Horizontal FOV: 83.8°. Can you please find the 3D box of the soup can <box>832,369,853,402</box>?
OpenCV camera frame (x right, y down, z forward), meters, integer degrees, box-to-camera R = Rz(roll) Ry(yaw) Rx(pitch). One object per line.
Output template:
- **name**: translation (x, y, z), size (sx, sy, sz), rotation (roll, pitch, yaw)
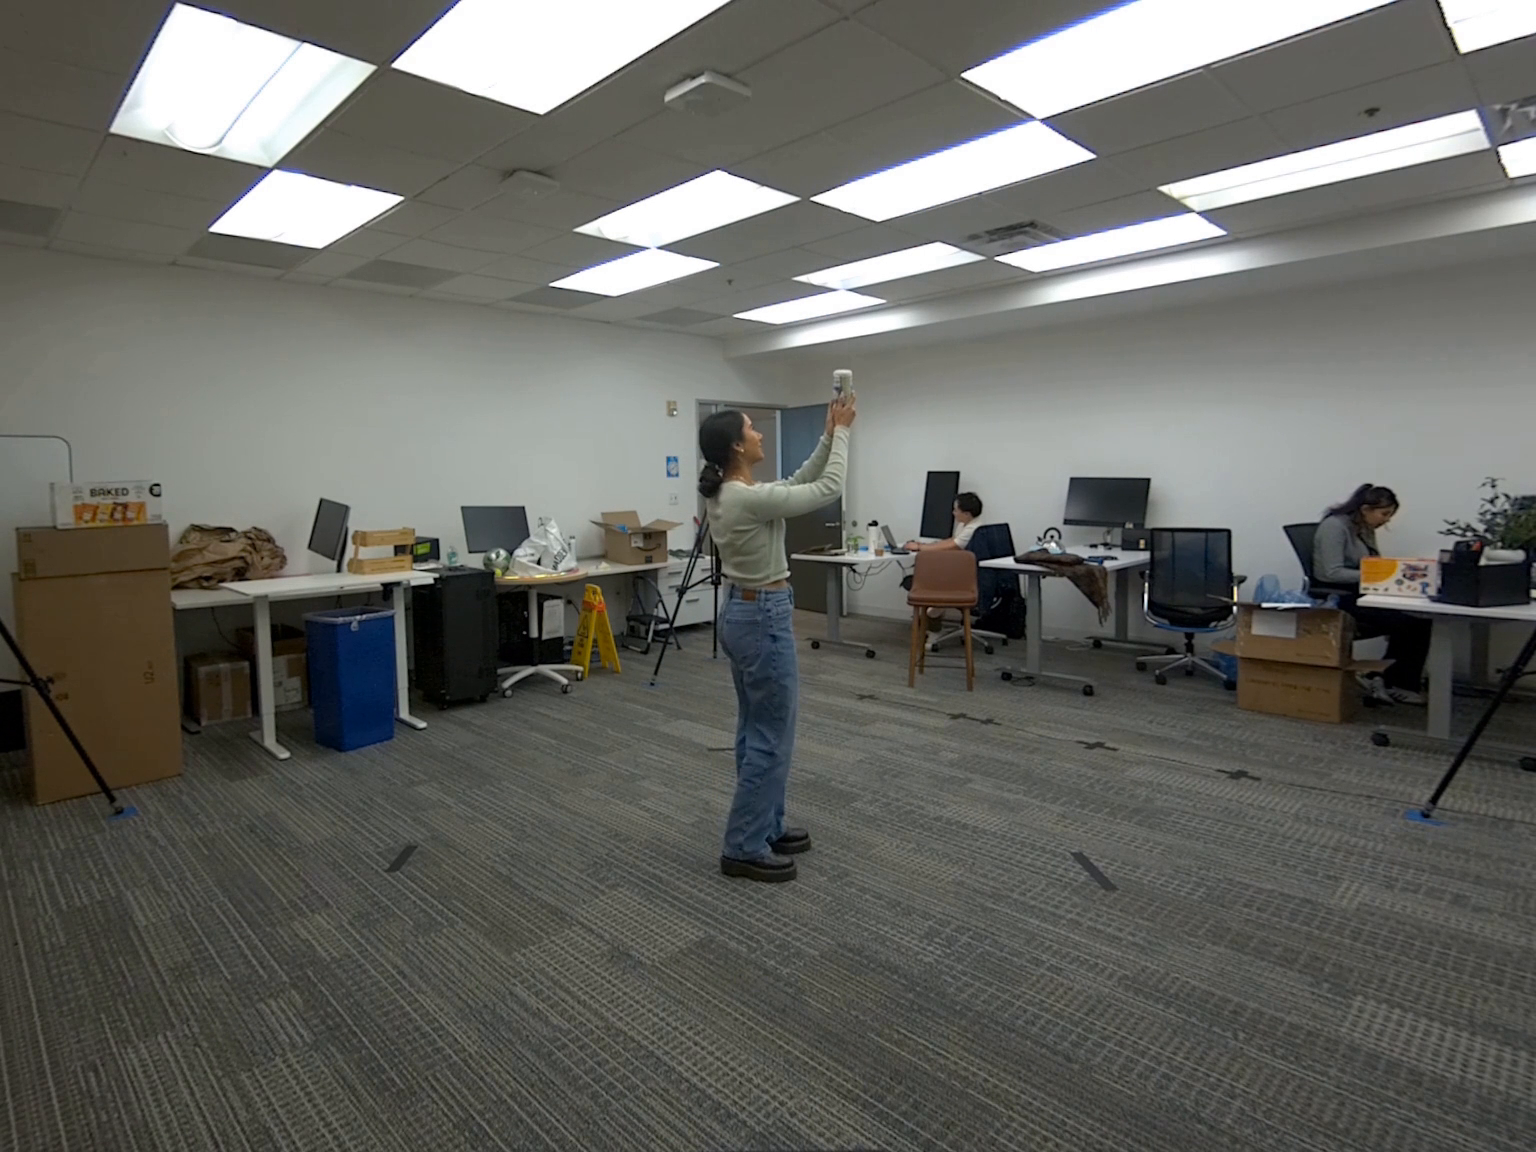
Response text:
- **soup can**: translation (0.270, -0.683, 3.094), size (0.067, 0.120, 0.068), rotation (-2, 15, -1)
